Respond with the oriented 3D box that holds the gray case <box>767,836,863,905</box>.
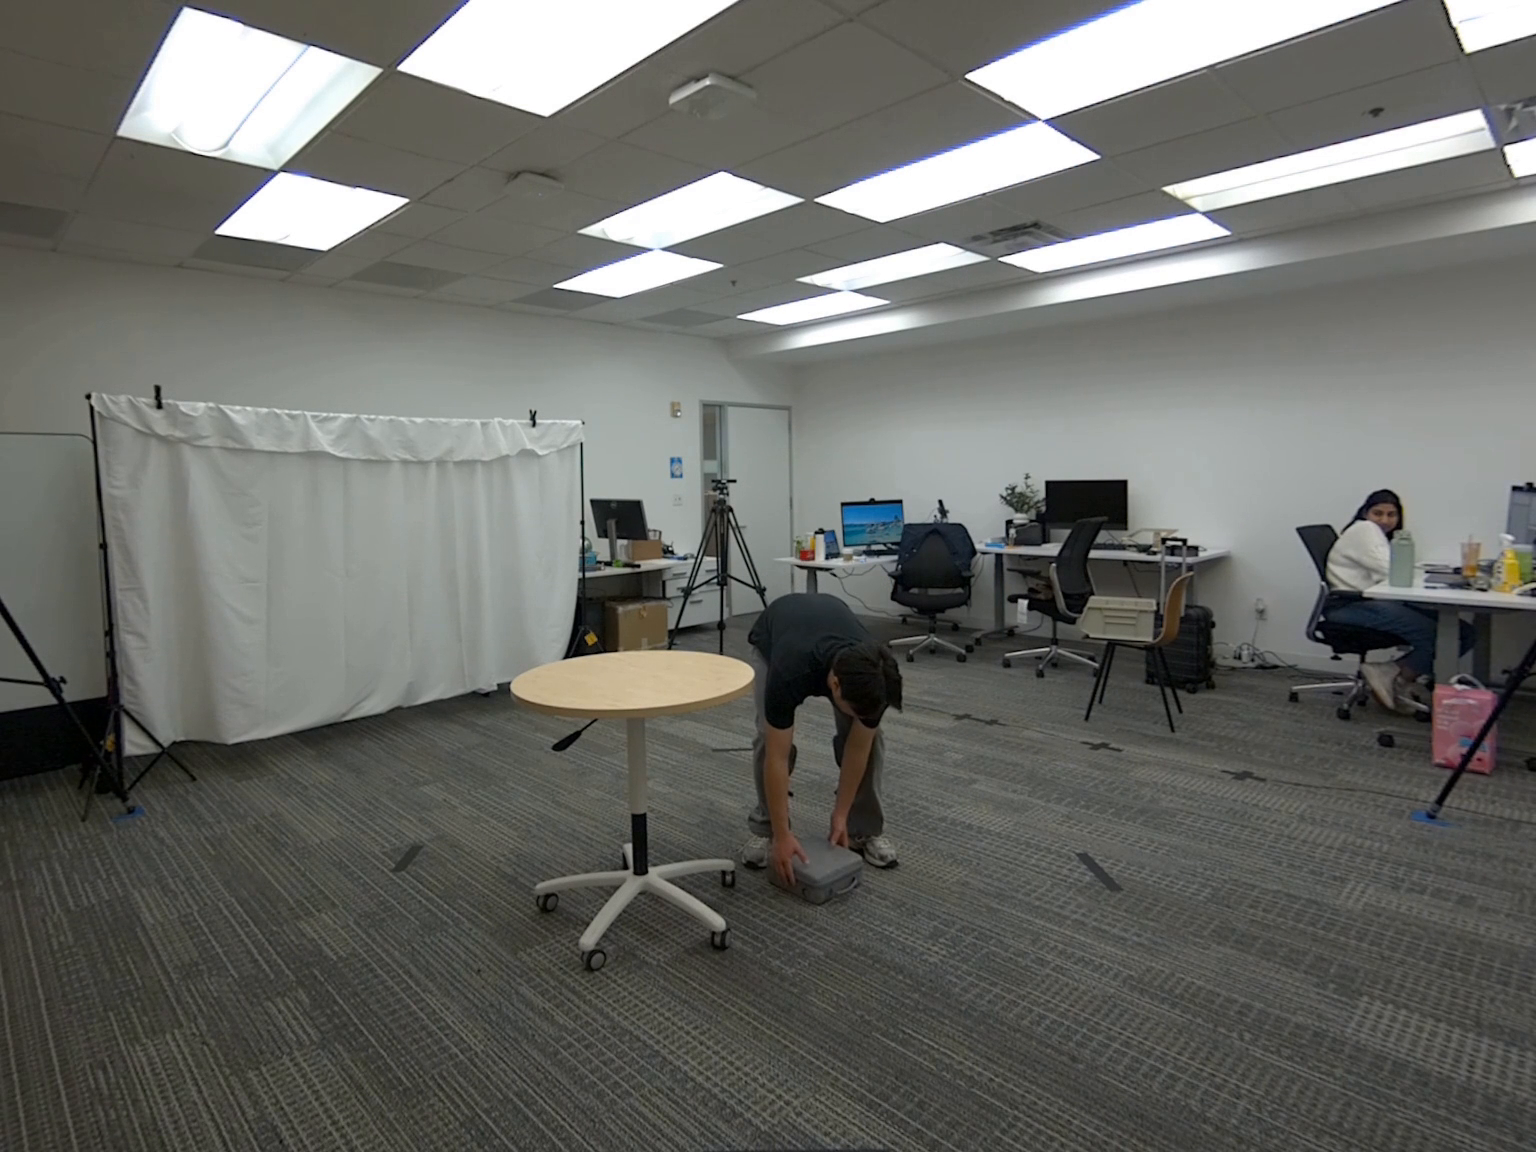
[{"bbox_3d":[0.168,1.011,2.942,0.256,0.102,0.296,-5,9,-43],"label":"gray case"}]
